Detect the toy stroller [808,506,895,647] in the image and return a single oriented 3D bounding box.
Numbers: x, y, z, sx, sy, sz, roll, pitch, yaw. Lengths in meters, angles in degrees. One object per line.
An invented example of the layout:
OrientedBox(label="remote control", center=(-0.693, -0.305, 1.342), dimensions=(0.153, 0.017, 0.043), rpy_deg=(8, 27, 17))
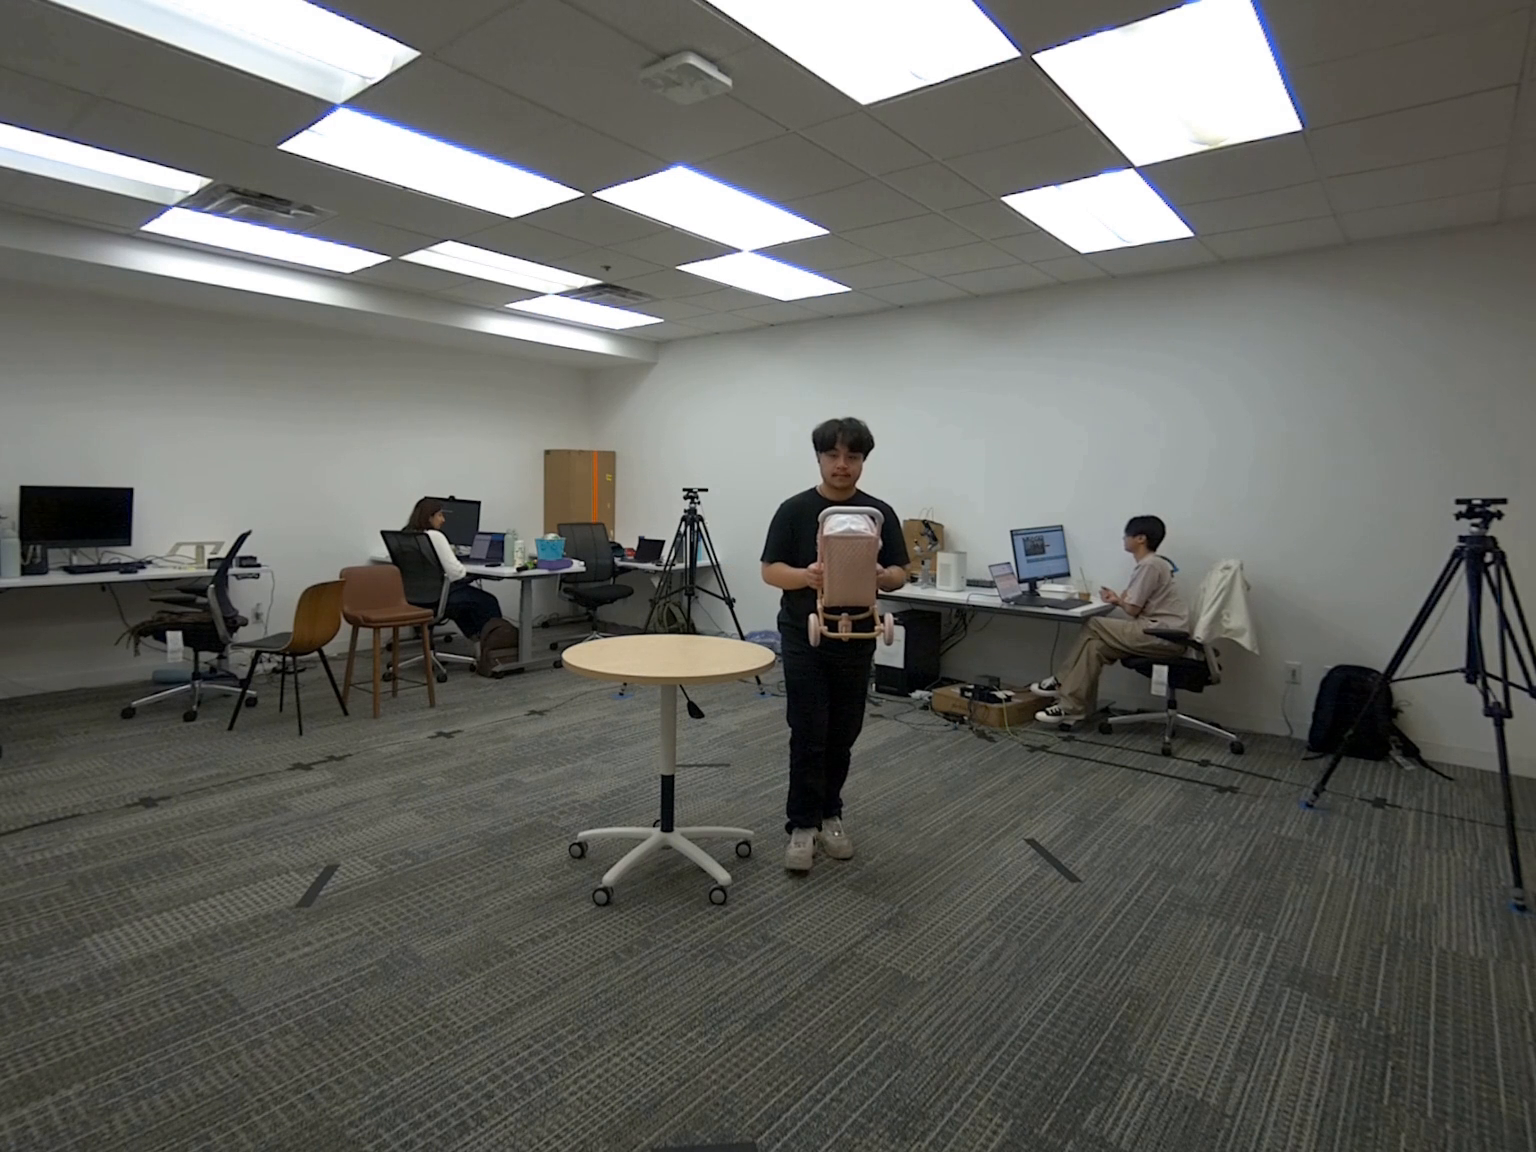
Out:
OrientedBox(label="toy stroller", center=(0.275, 0.003, 2.936), dimensions=(0.283, 0.529, 0.343), rpy_deg=(-1, 11, 5))
